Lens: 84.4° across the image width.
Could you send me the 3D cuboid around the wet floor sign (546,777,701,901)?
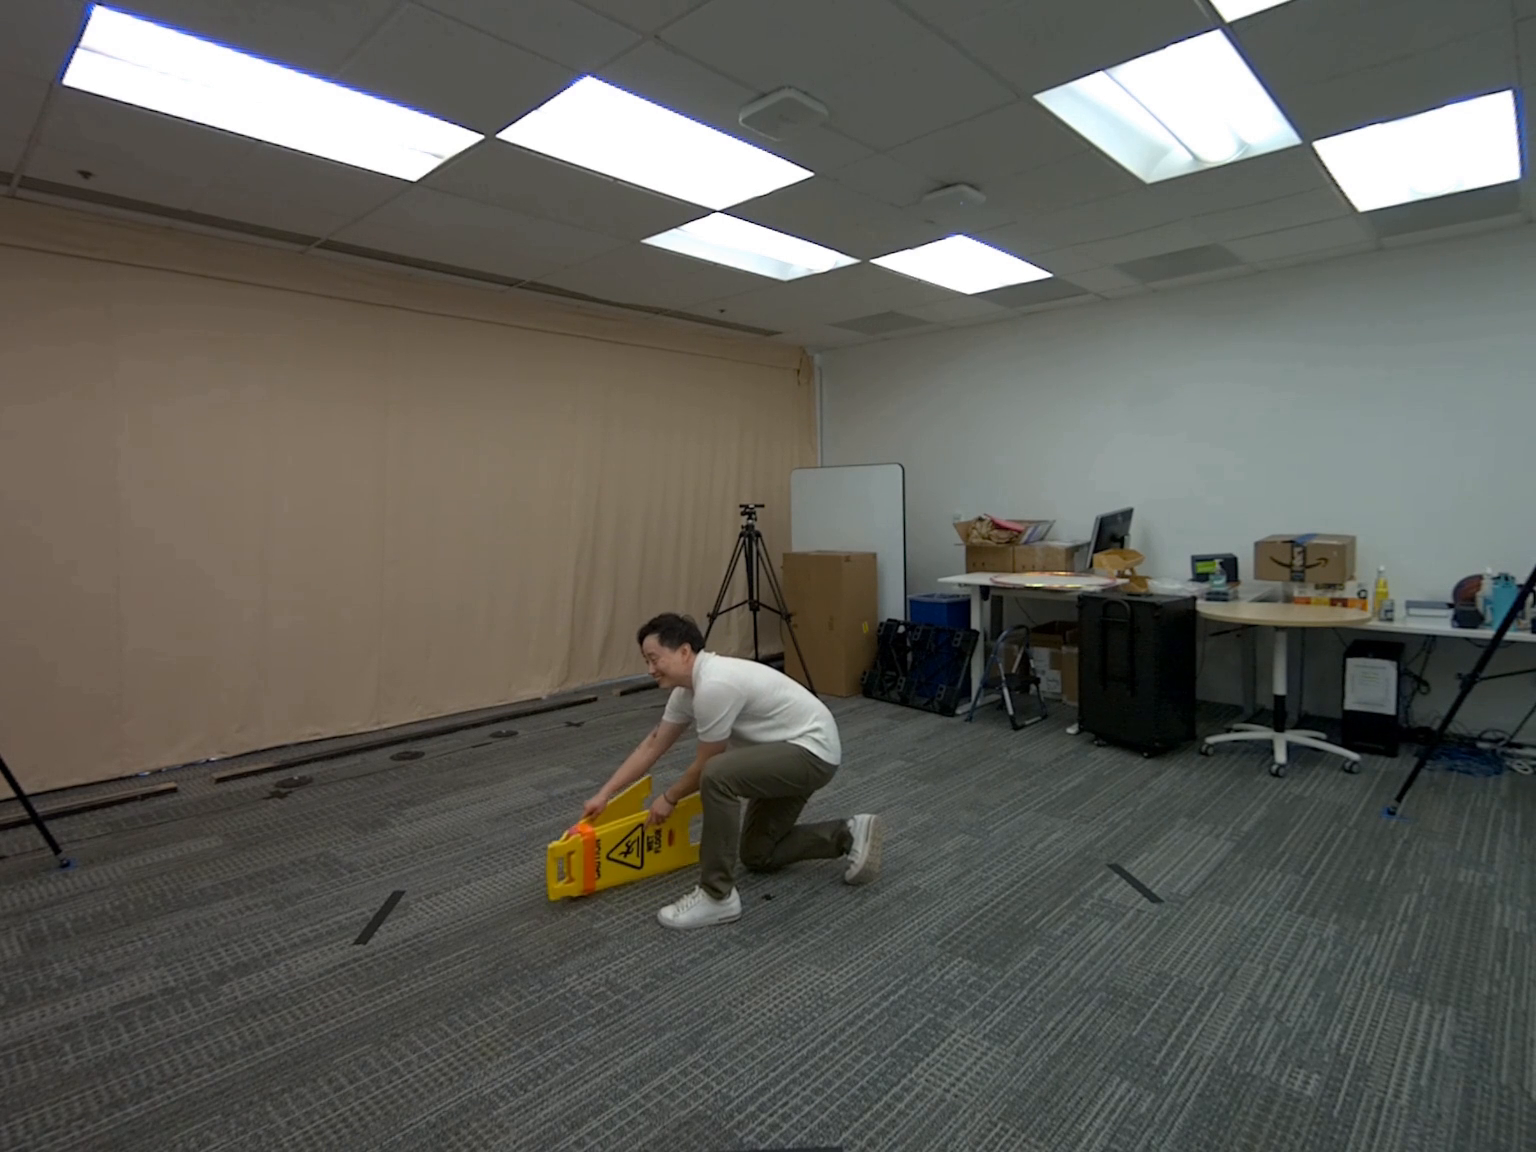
[{"bbox_3d":[-0.556,0.999,3.140,0.299,0.281,0.628,5,9,38],"label":"wet floor sign"}]
